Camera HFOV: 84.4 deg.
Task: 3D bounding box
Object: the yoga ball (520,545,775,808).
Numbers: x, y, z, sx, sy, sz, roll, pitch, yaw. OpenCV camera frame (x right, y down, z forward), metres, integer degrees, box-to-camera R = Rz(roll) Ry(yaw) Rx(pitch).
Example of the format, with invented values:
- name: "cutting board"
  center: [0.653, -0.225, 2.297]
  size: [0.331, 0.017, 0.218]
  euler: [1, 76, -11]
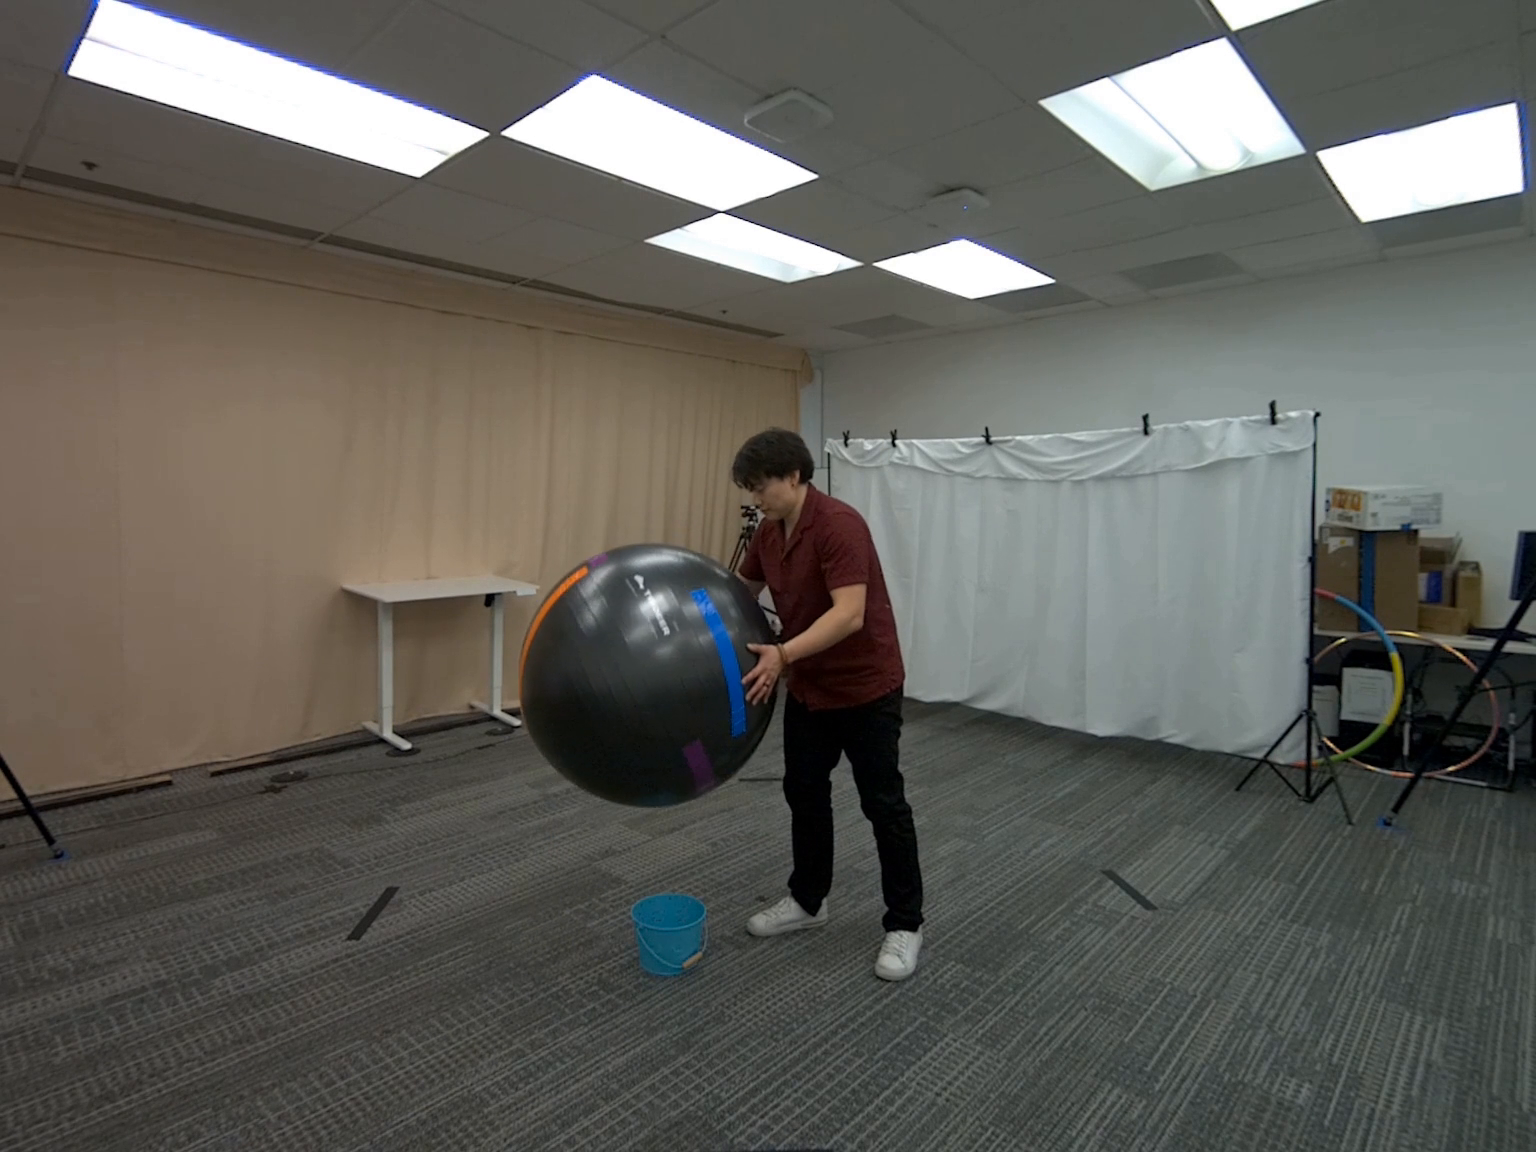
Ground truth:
- name: "yoga ball"
  center: [-0.348, 0.288, 2.481]
  size: [0.757, 0.756, 0.760]
  euler: [0, 4, -2]
